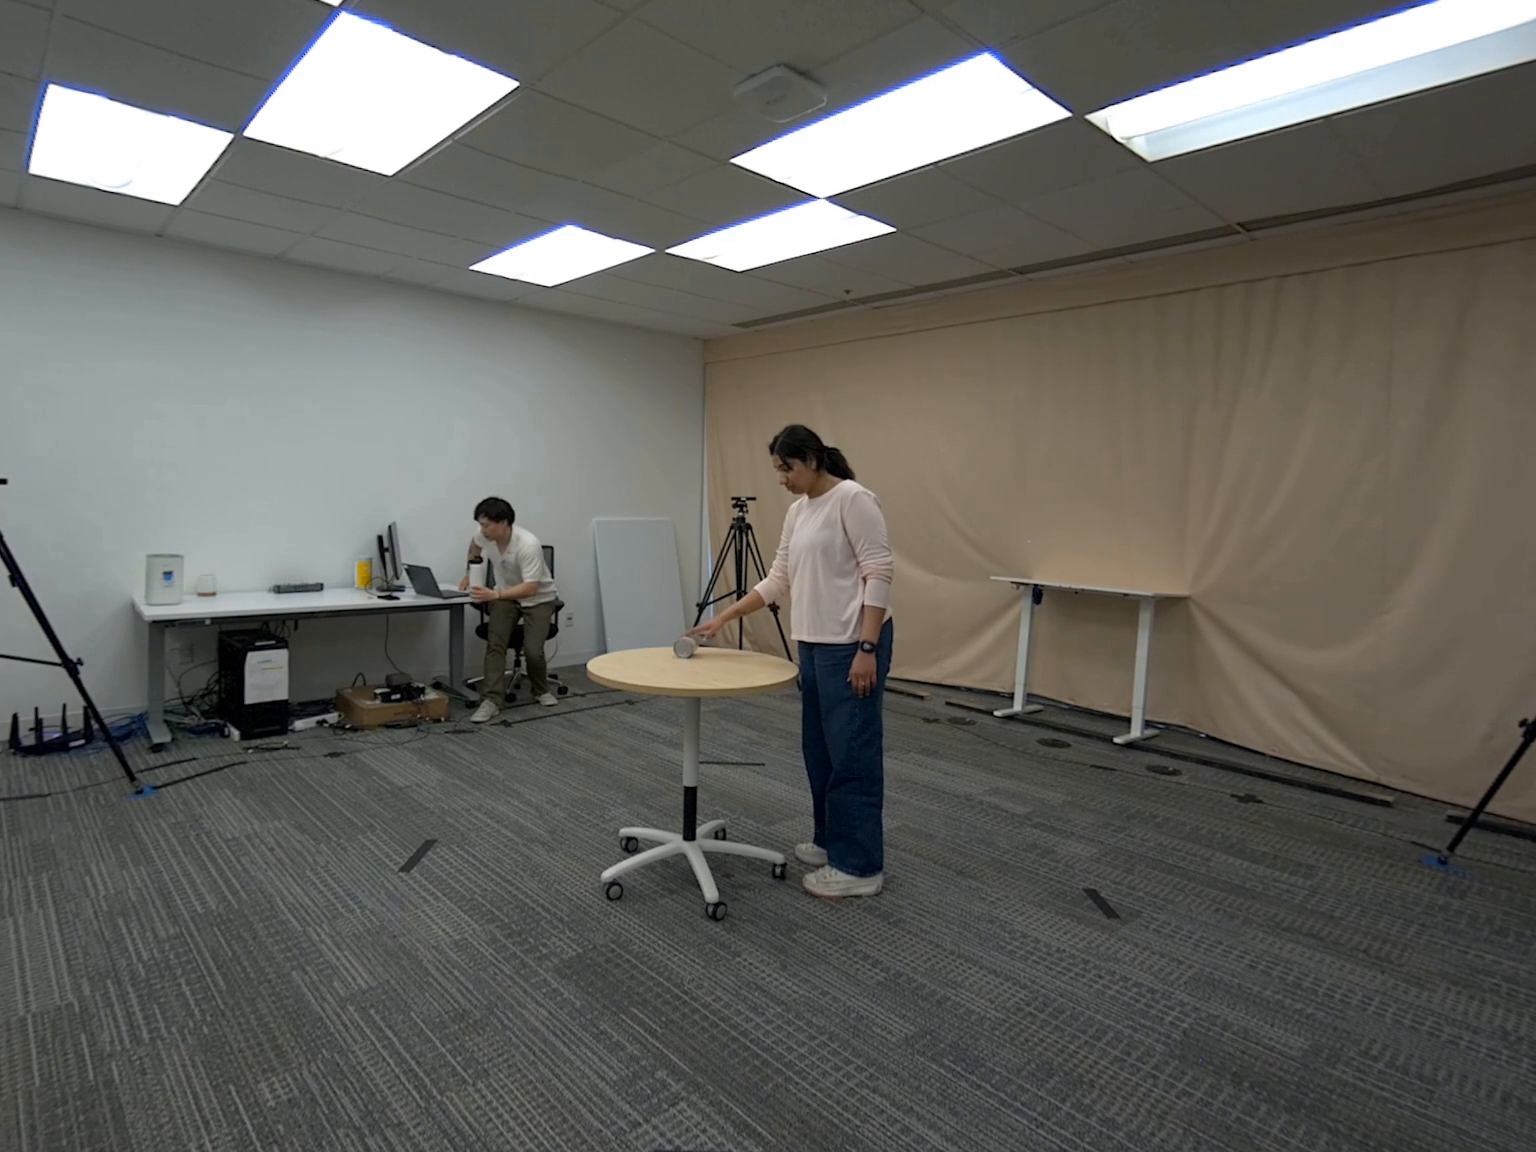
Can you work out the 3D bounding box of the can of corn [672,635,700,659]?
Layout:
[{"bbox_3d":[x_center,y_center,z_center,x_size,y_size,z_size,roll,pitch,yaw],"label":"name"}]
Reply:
[{"bbox_3d":[-0.316,0.268,3.238,0.074,0.074,0.111,2,4,6],"label":"can of corn"}]
